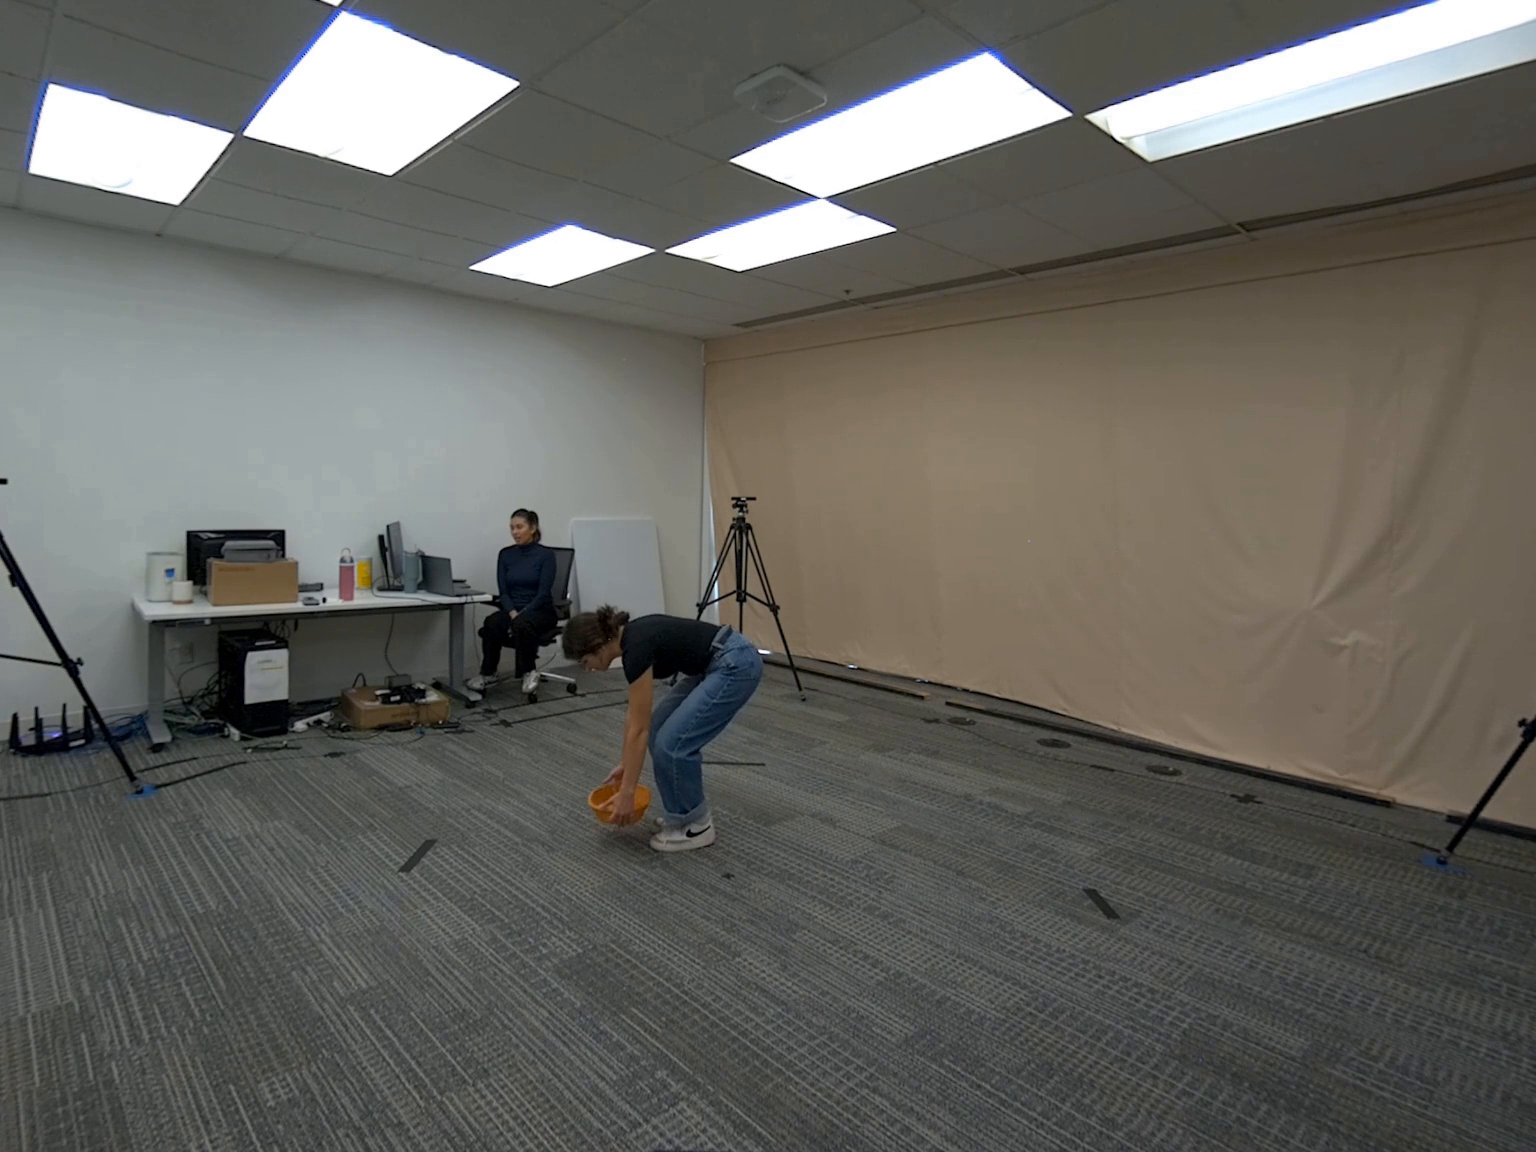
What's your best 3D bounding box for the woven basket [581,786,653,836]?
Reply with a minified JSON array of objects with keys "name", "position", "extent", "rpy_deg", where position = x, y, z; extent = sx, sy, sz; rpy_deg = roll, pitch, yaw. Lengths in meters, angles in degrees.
[{"name":"woven basket","position":[-0.591,0.923,3.349],"extent":[0.251,0.073,0.352],"rpy_deg":[-1,2,-5]}]
